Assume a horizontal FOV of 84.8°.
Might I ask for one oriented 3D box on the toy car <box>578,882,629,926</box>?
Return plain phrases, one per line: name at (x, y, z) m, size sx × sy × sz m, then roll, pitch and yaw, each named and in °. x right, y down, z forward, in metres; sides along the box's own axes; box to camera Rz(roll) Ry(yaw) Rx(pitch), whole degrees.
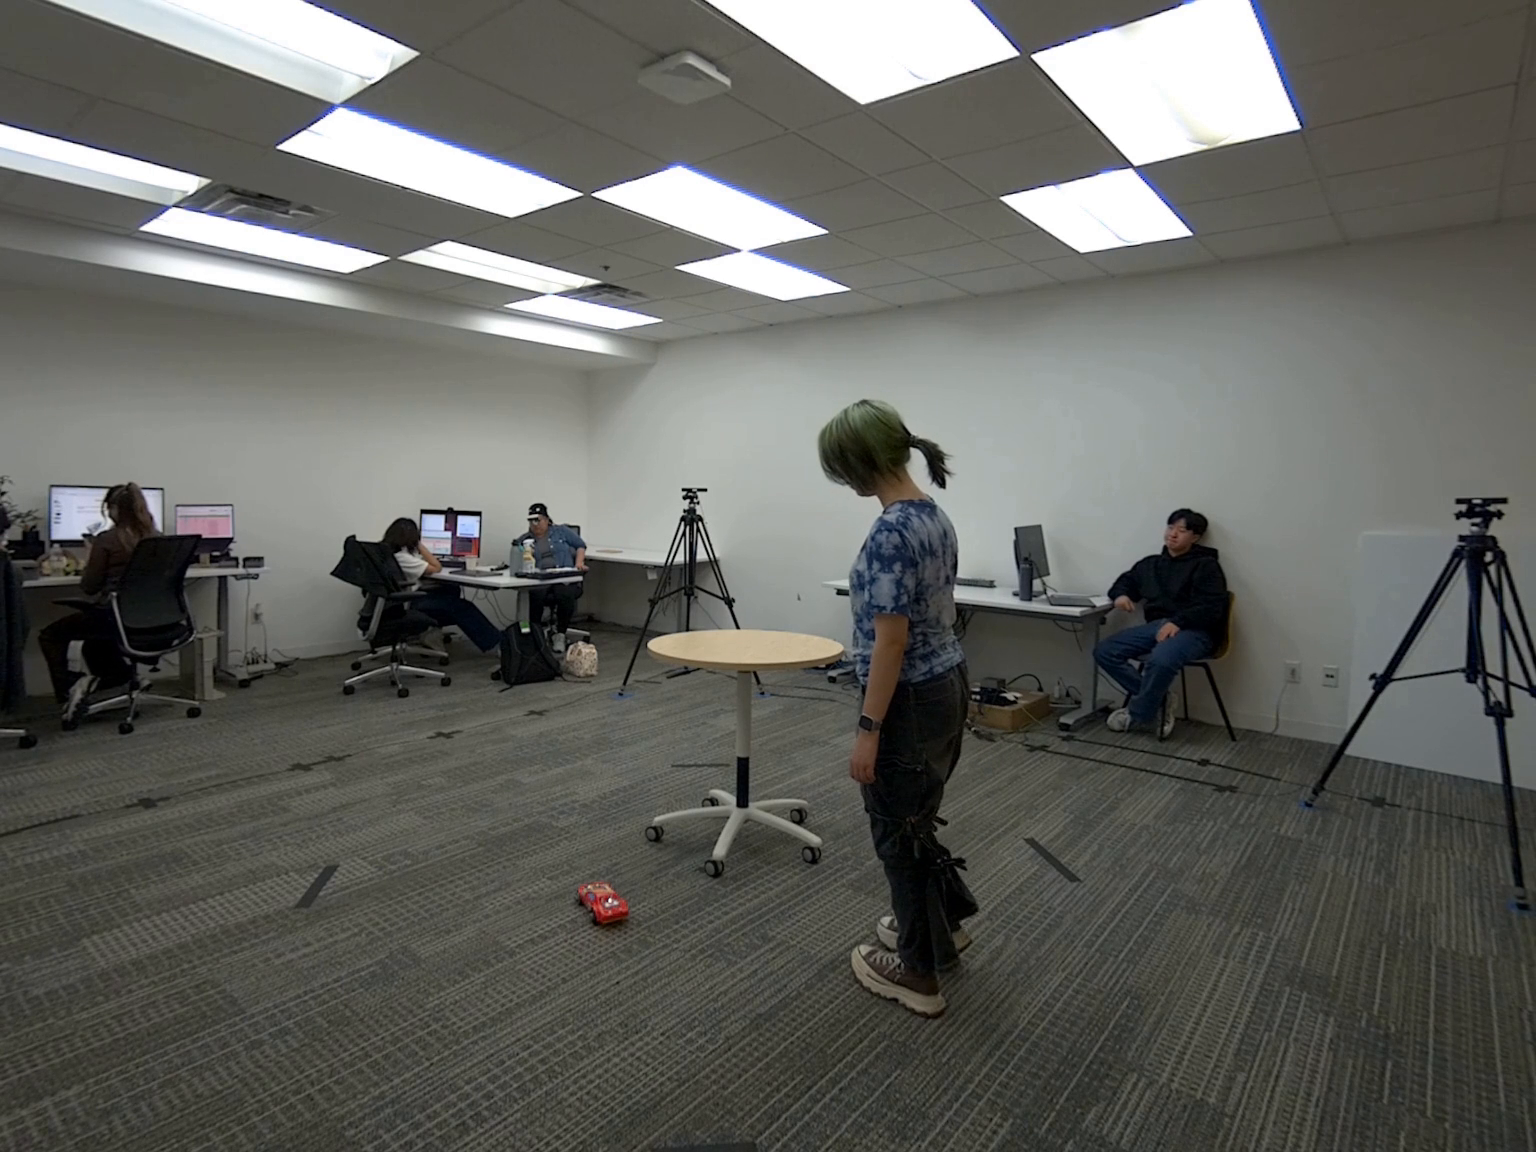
toy car at (-0.545, 1.062, 2.767) m, size 0.127 × 0.084 × 0.260 m, roll -3°, pitch -4°, yaw -30°
